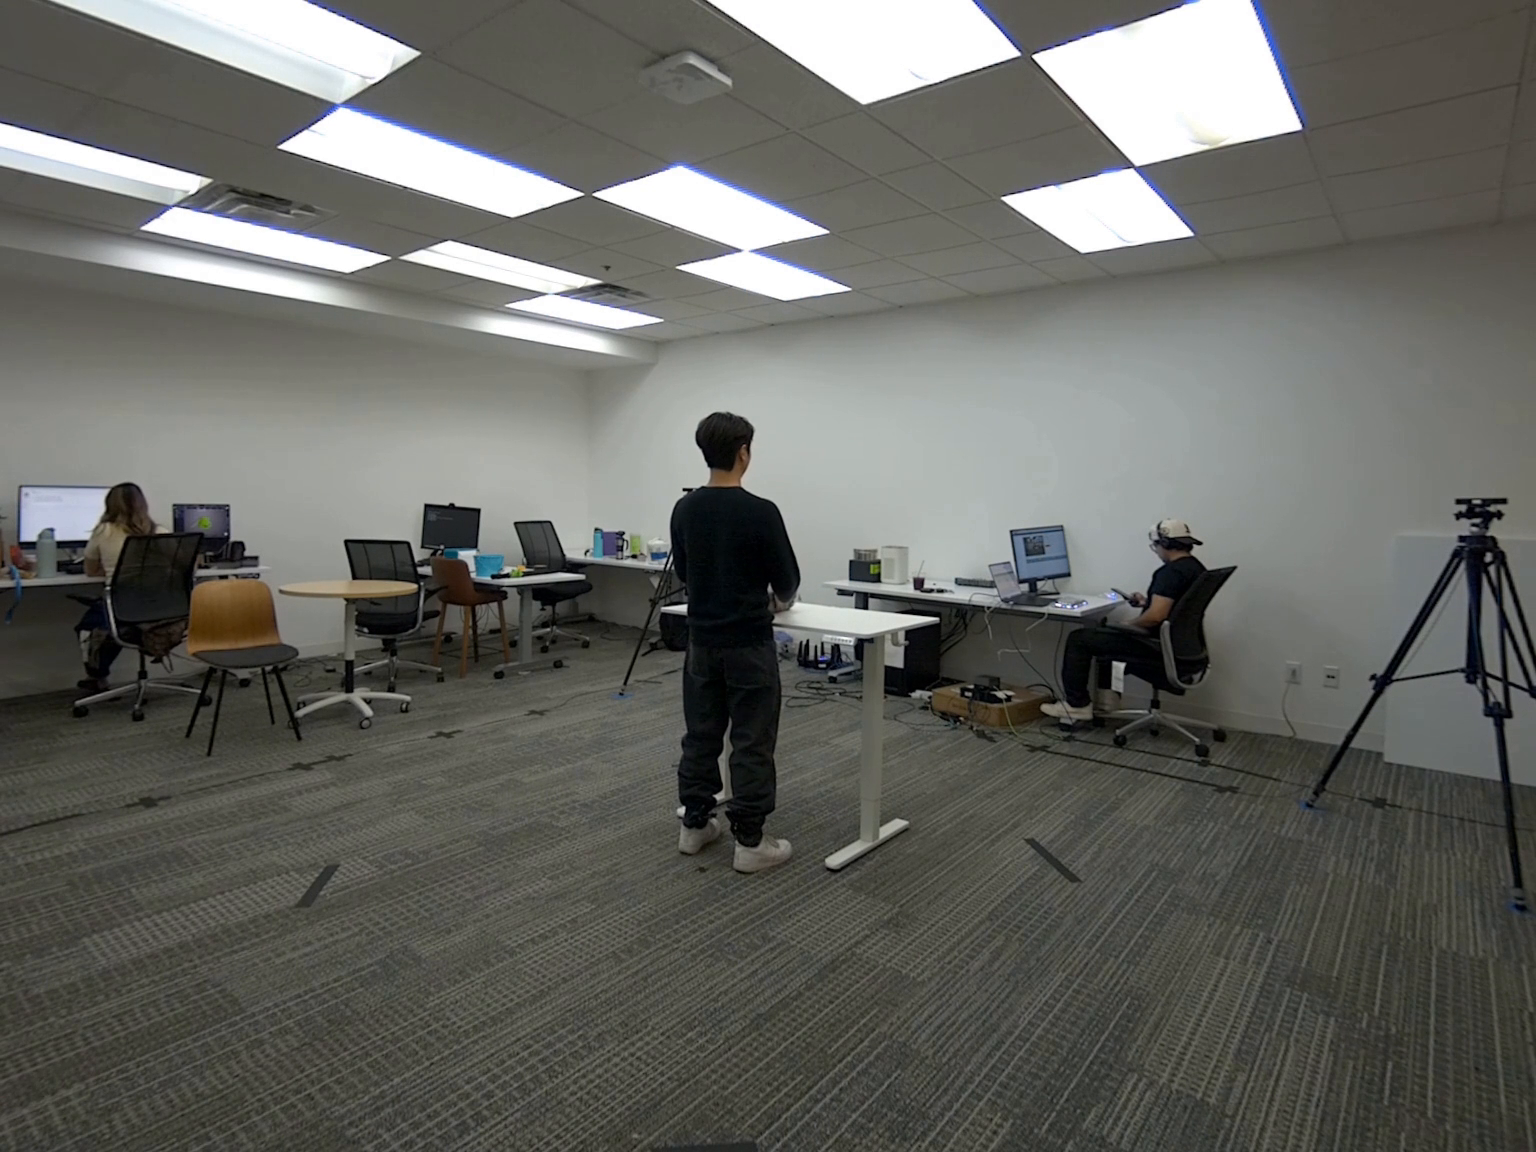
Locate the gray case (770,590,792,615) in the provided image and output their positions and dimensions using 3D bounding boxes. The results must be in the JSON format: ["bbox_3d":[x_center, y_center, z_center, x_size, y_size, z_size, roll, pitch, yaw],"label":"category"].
[{"bbox_3d":[-0.049,0.052,3.604,0.266,0.103,0.254,25,14,26],"label":"gray case"}]
